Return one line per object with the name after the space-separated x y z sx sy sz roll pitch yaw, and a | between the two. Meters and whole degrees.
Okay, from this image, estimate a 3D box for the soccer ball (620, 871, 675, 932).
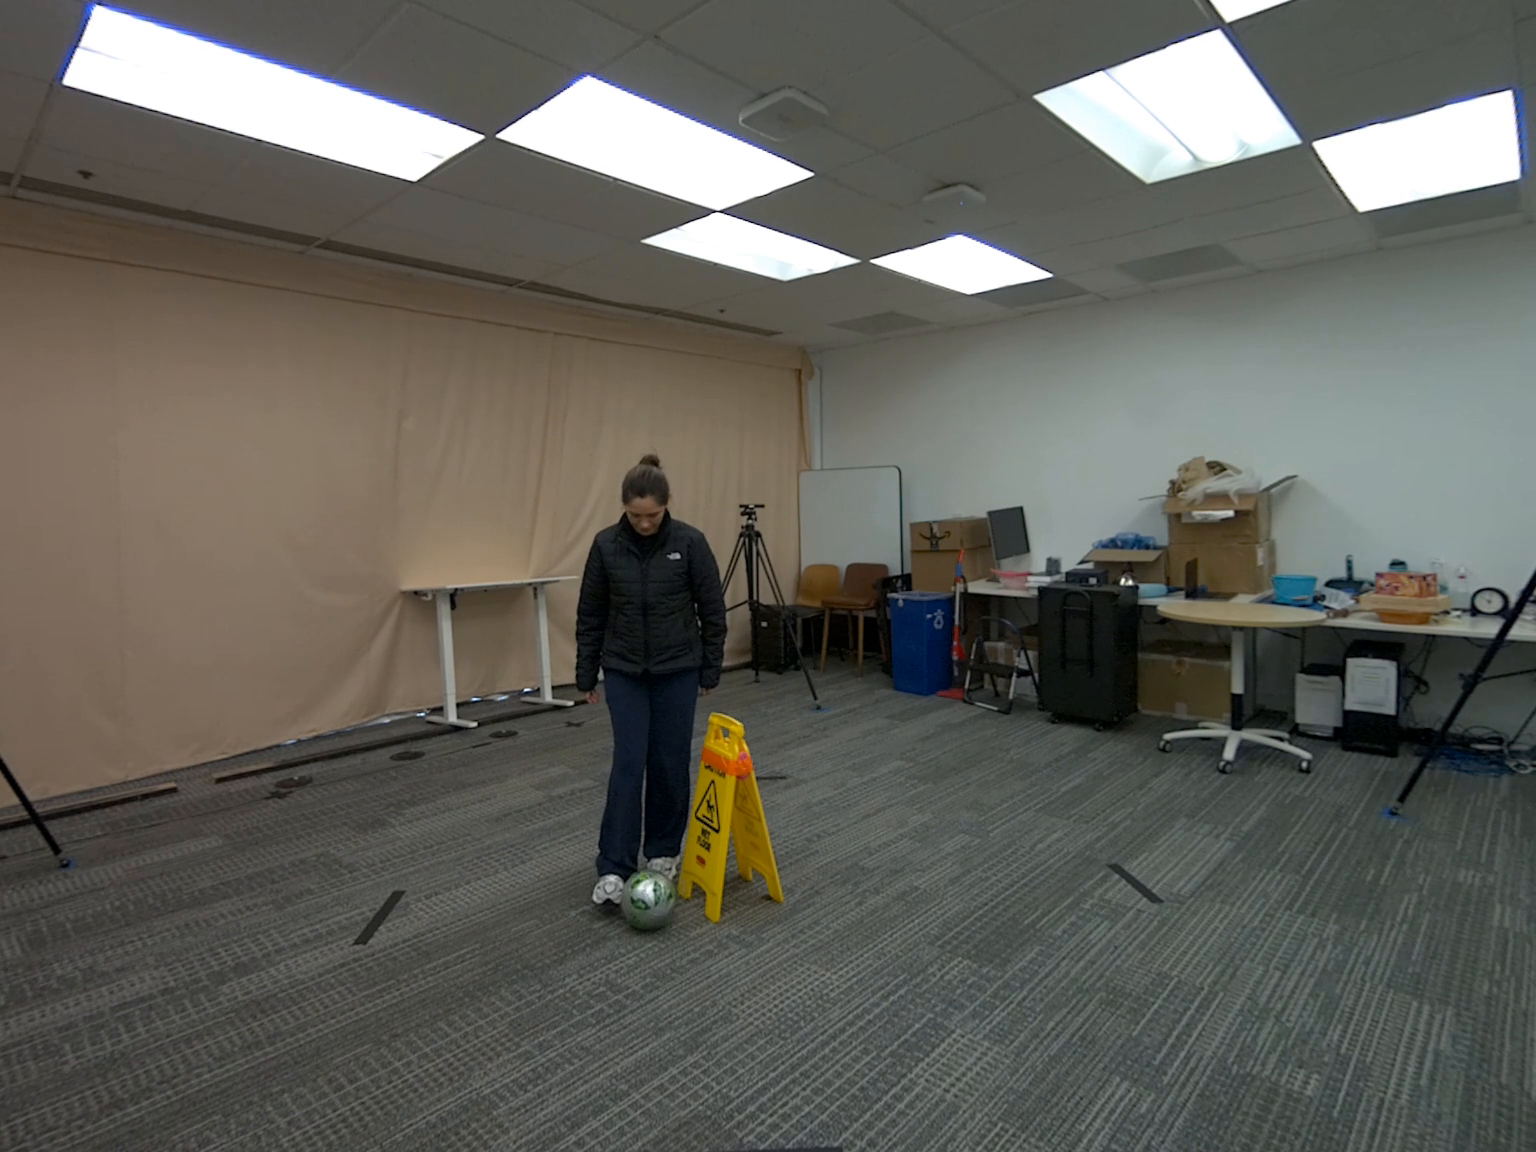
-0.393 1.062 2.793 0.187 0.187 0.188 -1 4 -2 | soccer ball
